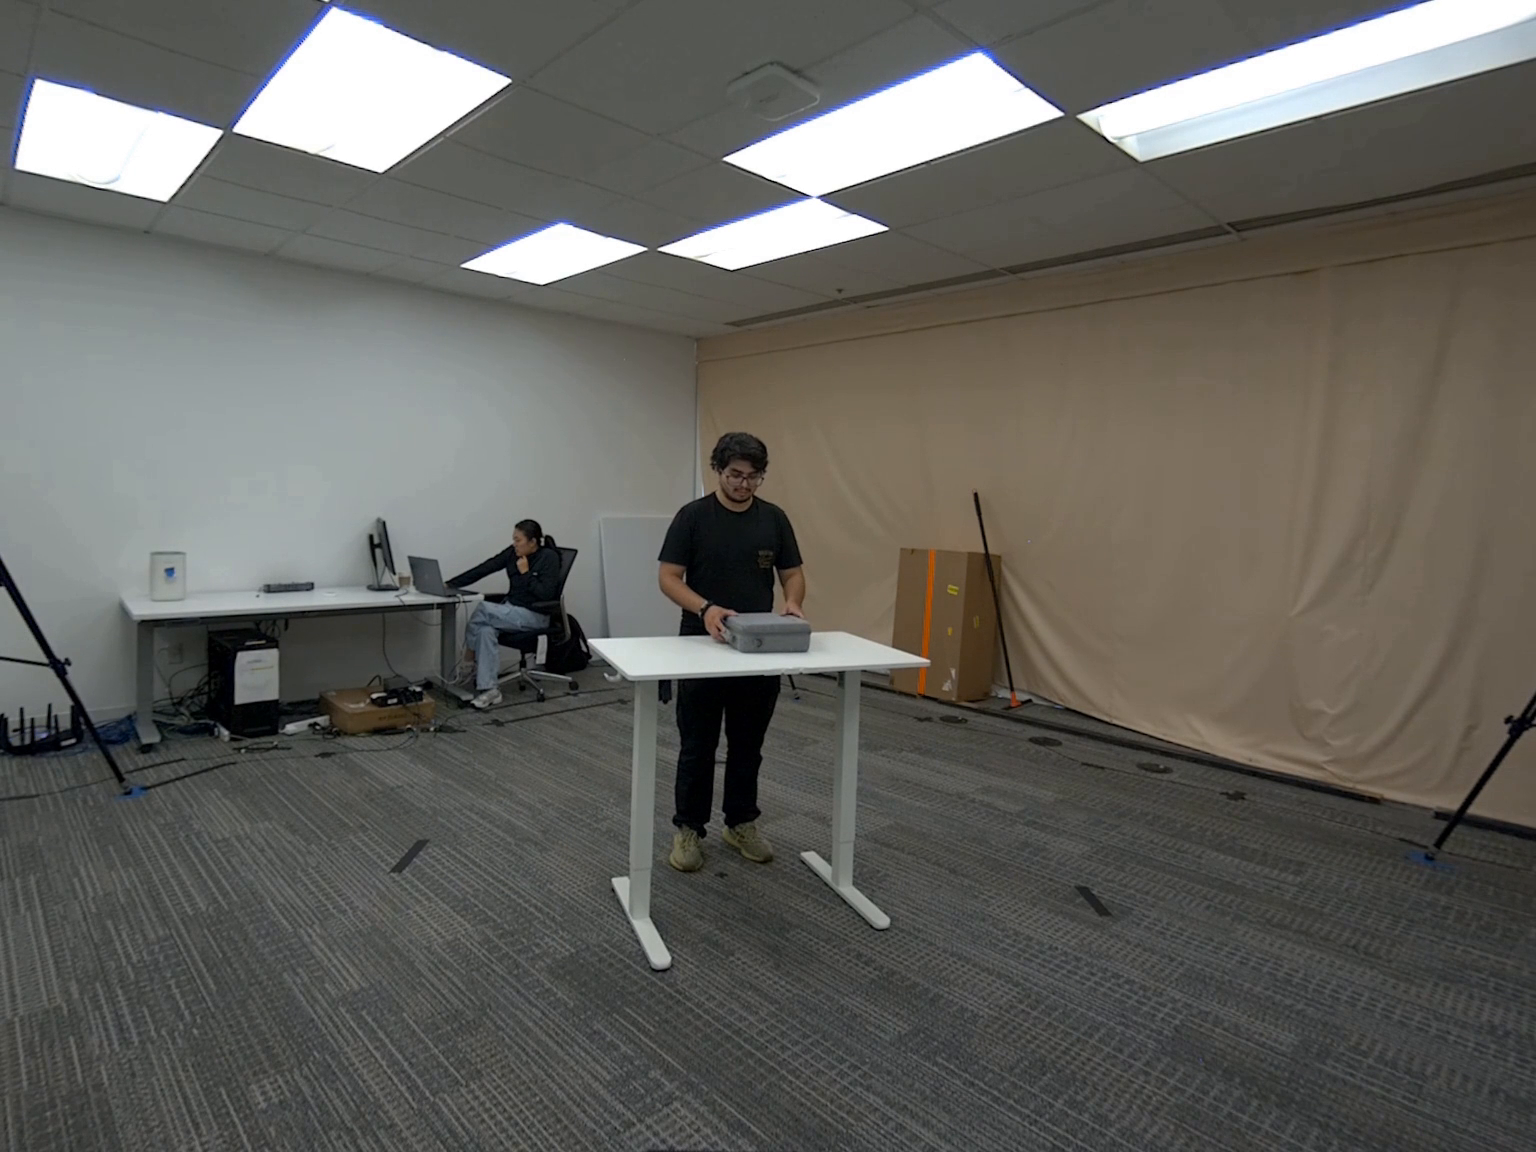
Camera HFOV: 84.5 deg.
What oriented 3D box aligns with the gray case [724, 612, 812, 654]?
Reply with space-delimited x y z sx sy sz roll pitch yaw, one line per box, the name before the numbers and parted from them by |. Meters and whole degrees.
gray case | 0.000 0.196 2.885 0.257 0.104 0.260 0 4 -15
